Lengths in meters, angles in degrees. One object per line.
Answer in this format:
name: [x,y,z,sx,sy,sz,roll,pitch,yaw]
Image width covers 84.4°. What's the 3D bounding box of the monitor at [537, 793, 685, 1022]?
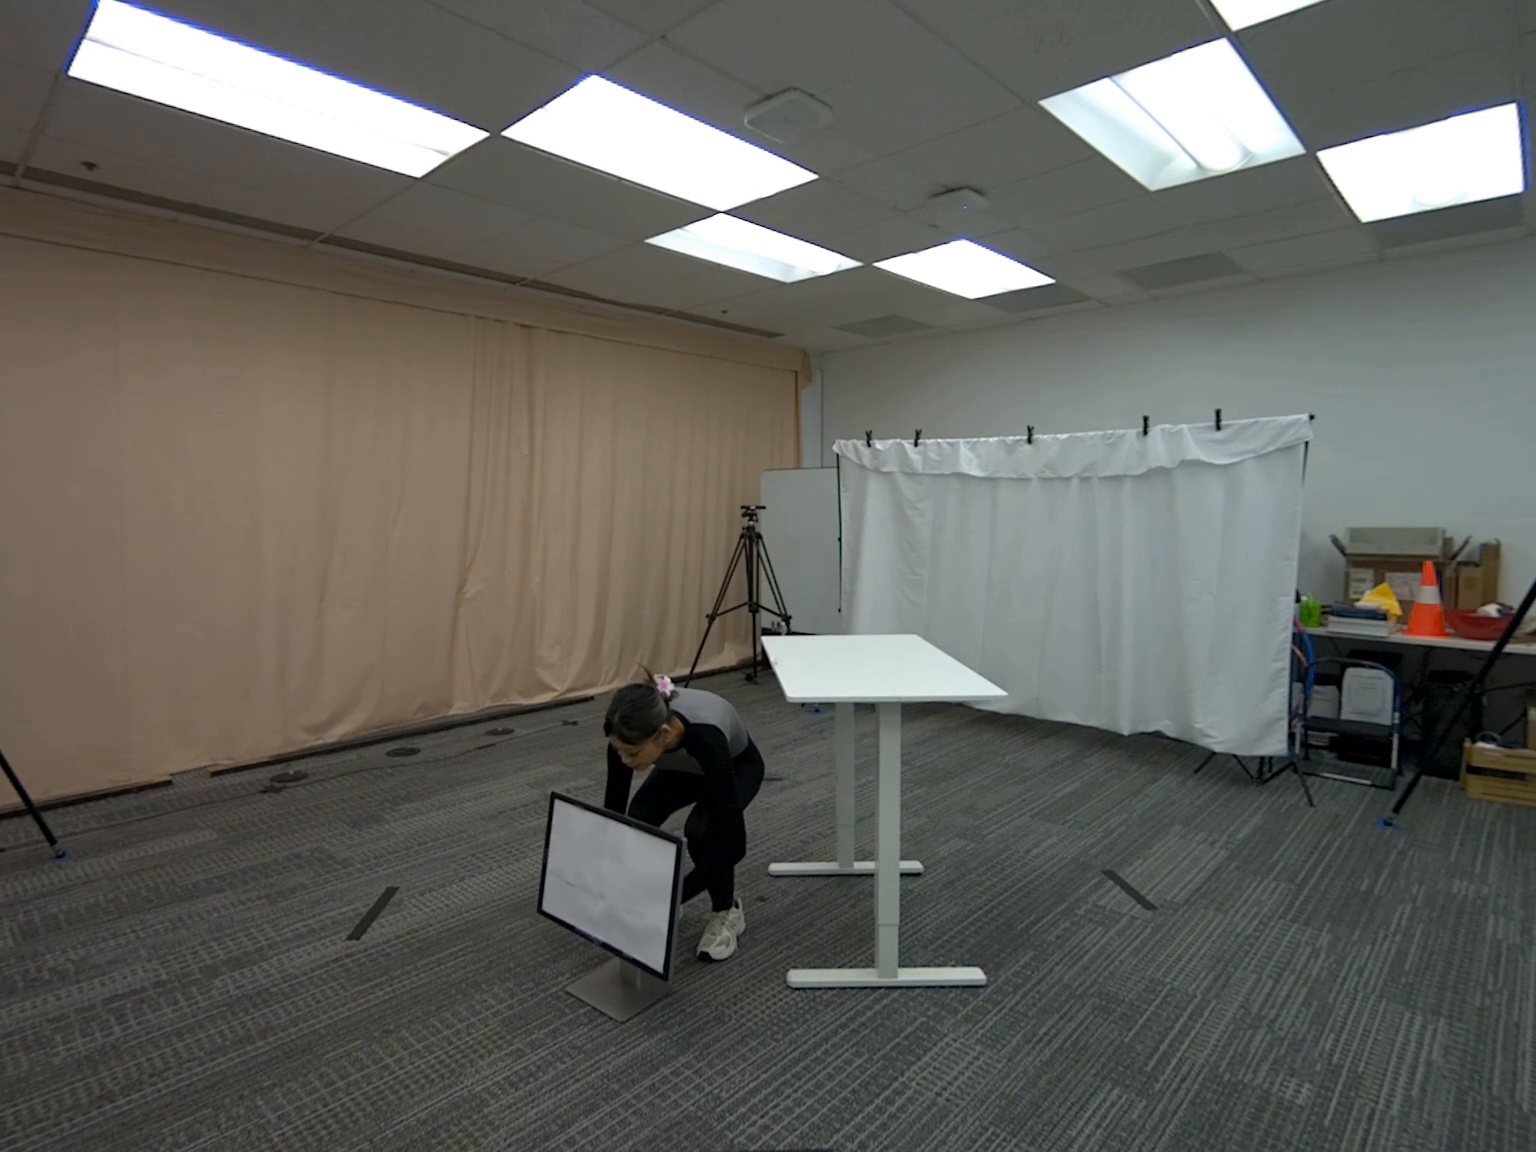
monitor: [-0.422,0.935,2.406,0.557,0.521,0.181,4,5,40]
